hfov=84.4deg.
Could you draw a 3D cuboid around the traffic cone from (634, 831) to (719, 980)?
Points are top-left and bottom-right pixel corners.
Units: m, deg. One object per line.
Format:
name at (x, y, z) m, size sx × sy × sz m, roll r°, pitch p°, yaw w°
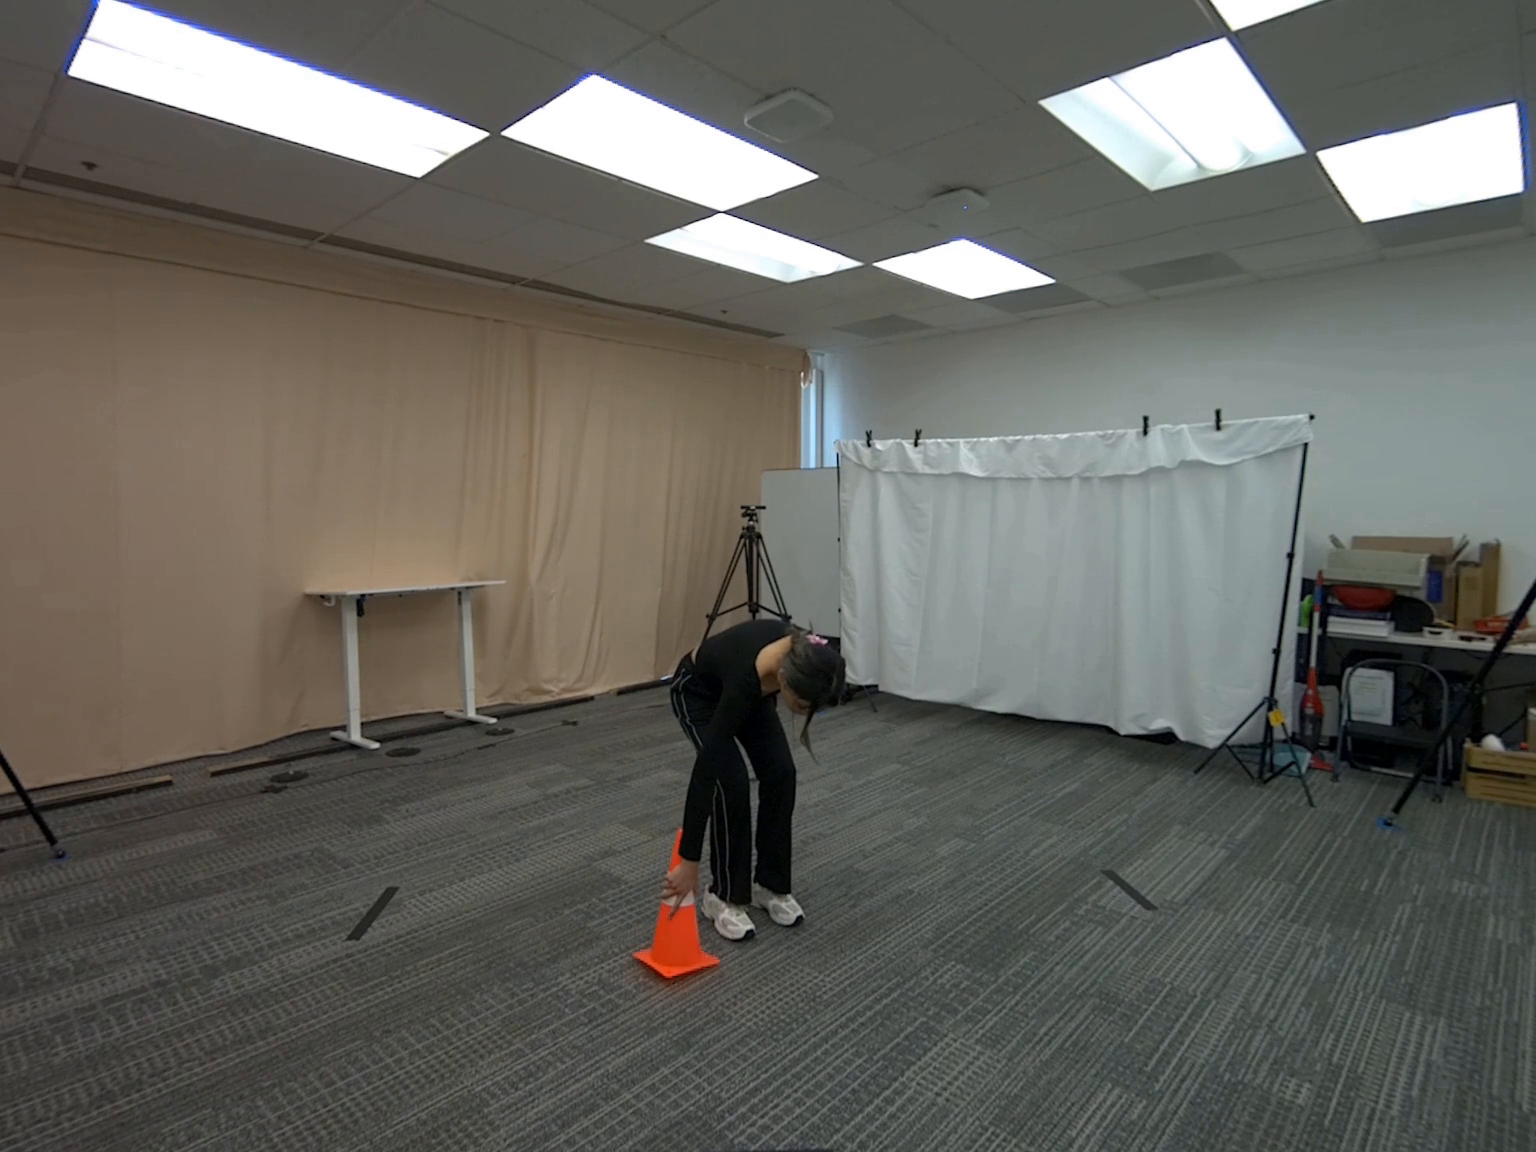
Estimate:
traffic cone at (-0.272, 0.976, 2.569) m, size 0.197 × 0.384 × 0.211 m, roll 4°, pitch -4°, yaw -37°
